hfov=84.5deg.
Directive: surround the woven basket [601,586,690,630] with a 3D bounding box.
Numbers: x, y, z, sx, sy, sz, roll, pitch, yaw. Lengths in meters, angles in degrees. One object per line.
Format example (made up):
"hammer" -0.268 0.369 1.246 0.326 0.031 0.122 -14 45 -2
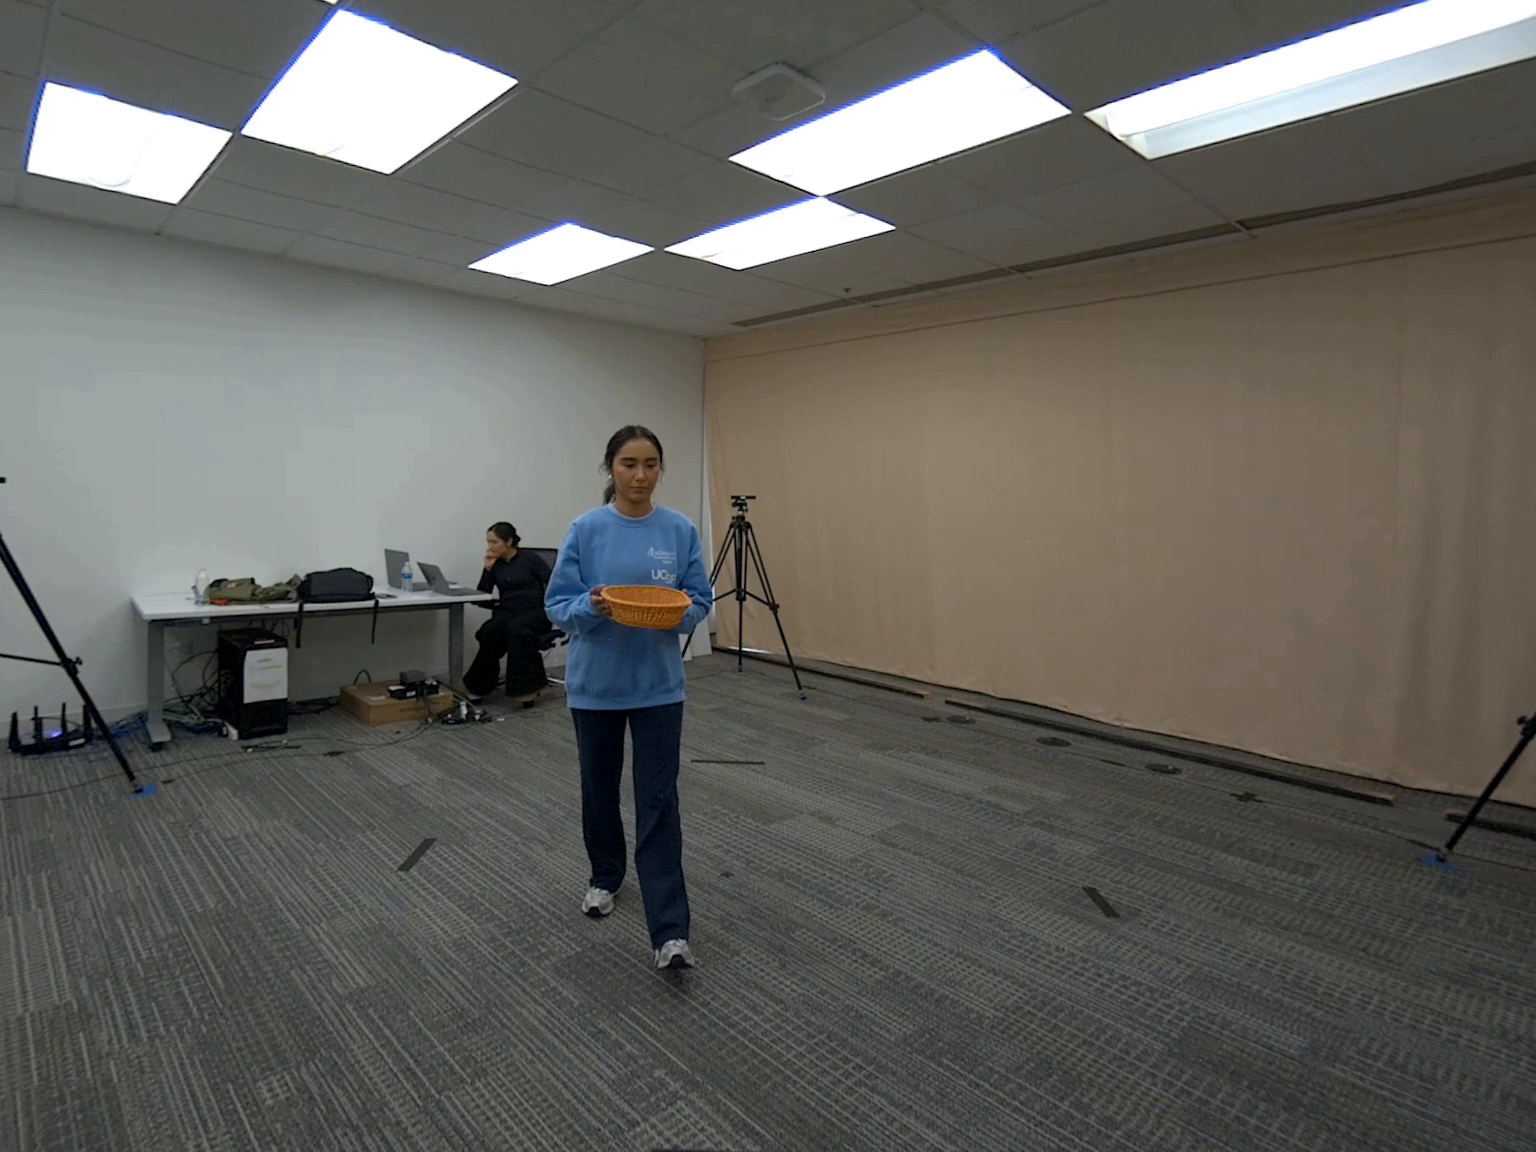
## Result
"woven basket" -0.390 0.084 2.427 0.248 0.073 0.357 1 7 -20
